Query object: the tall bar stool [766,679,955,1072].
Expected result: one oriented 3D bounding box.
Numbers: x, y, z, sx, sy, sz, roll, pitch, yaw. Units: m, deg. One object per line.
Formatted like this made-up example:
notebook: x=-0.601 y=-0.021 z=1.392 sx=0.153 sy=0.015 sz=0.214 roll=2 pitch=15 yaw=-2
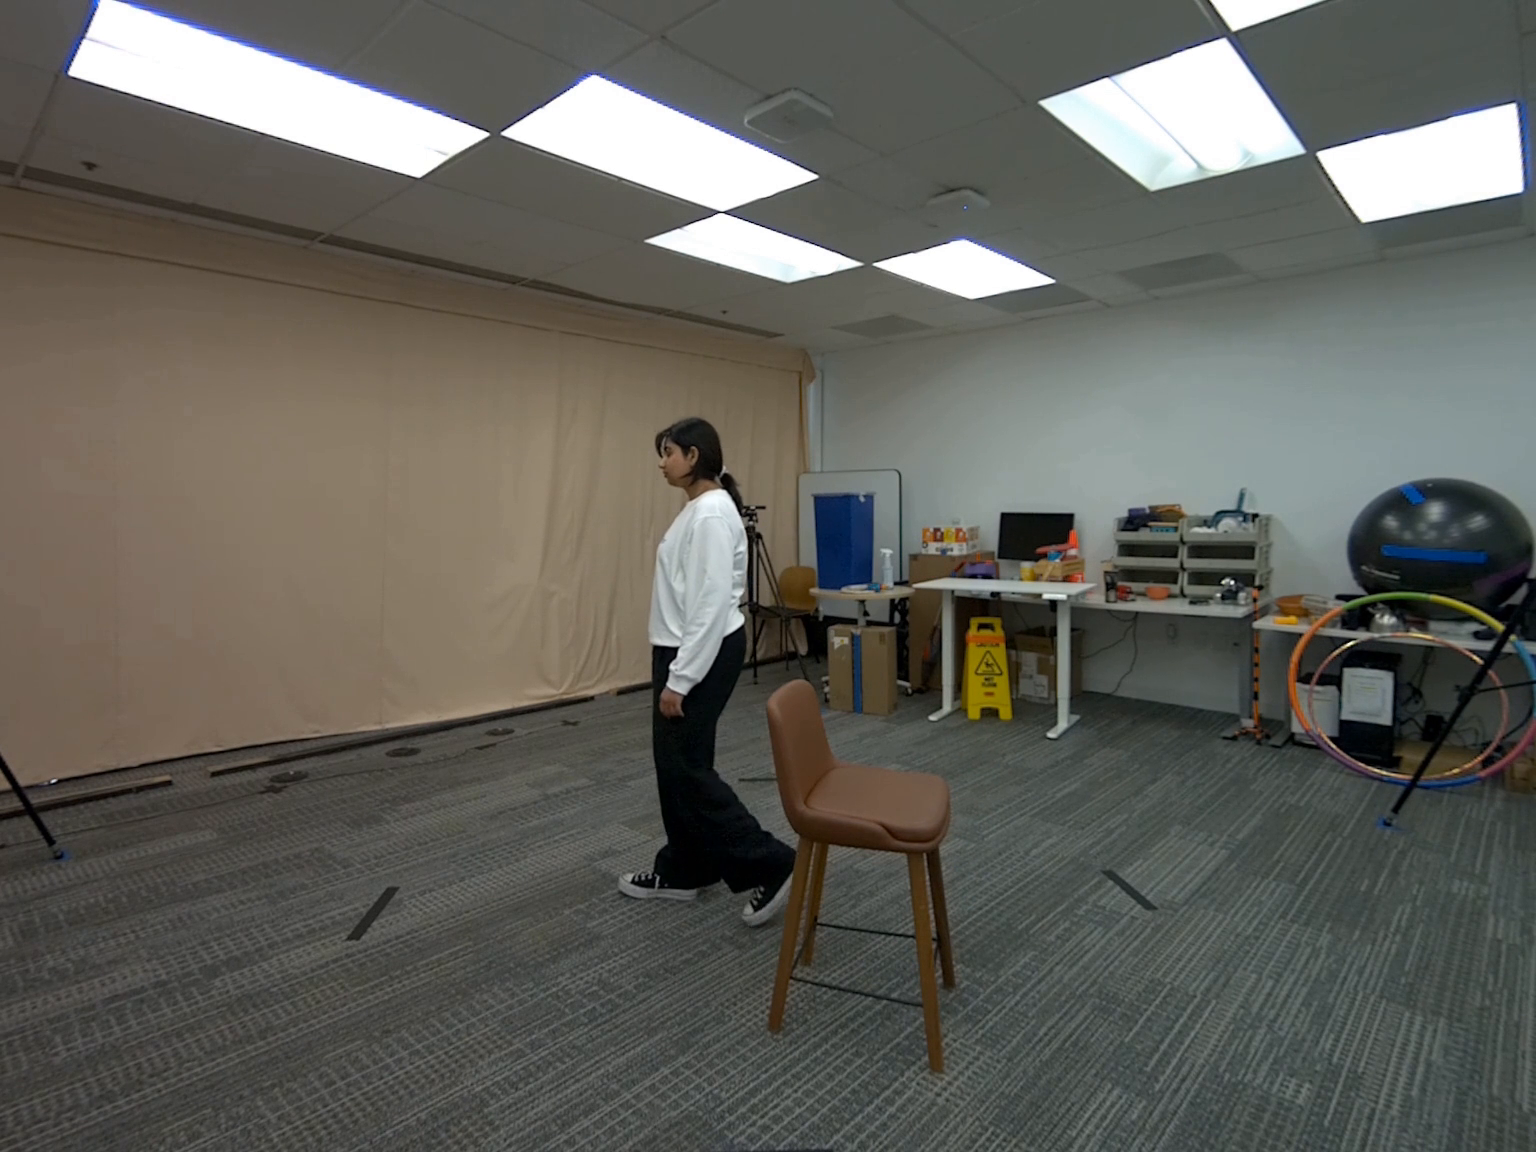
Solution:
tall bar stool: x=0.275 y=0.765 z=2.308 sx=0.478 sy=0.888 sz=0.447 roll=0 pitch=3 yaw=20
